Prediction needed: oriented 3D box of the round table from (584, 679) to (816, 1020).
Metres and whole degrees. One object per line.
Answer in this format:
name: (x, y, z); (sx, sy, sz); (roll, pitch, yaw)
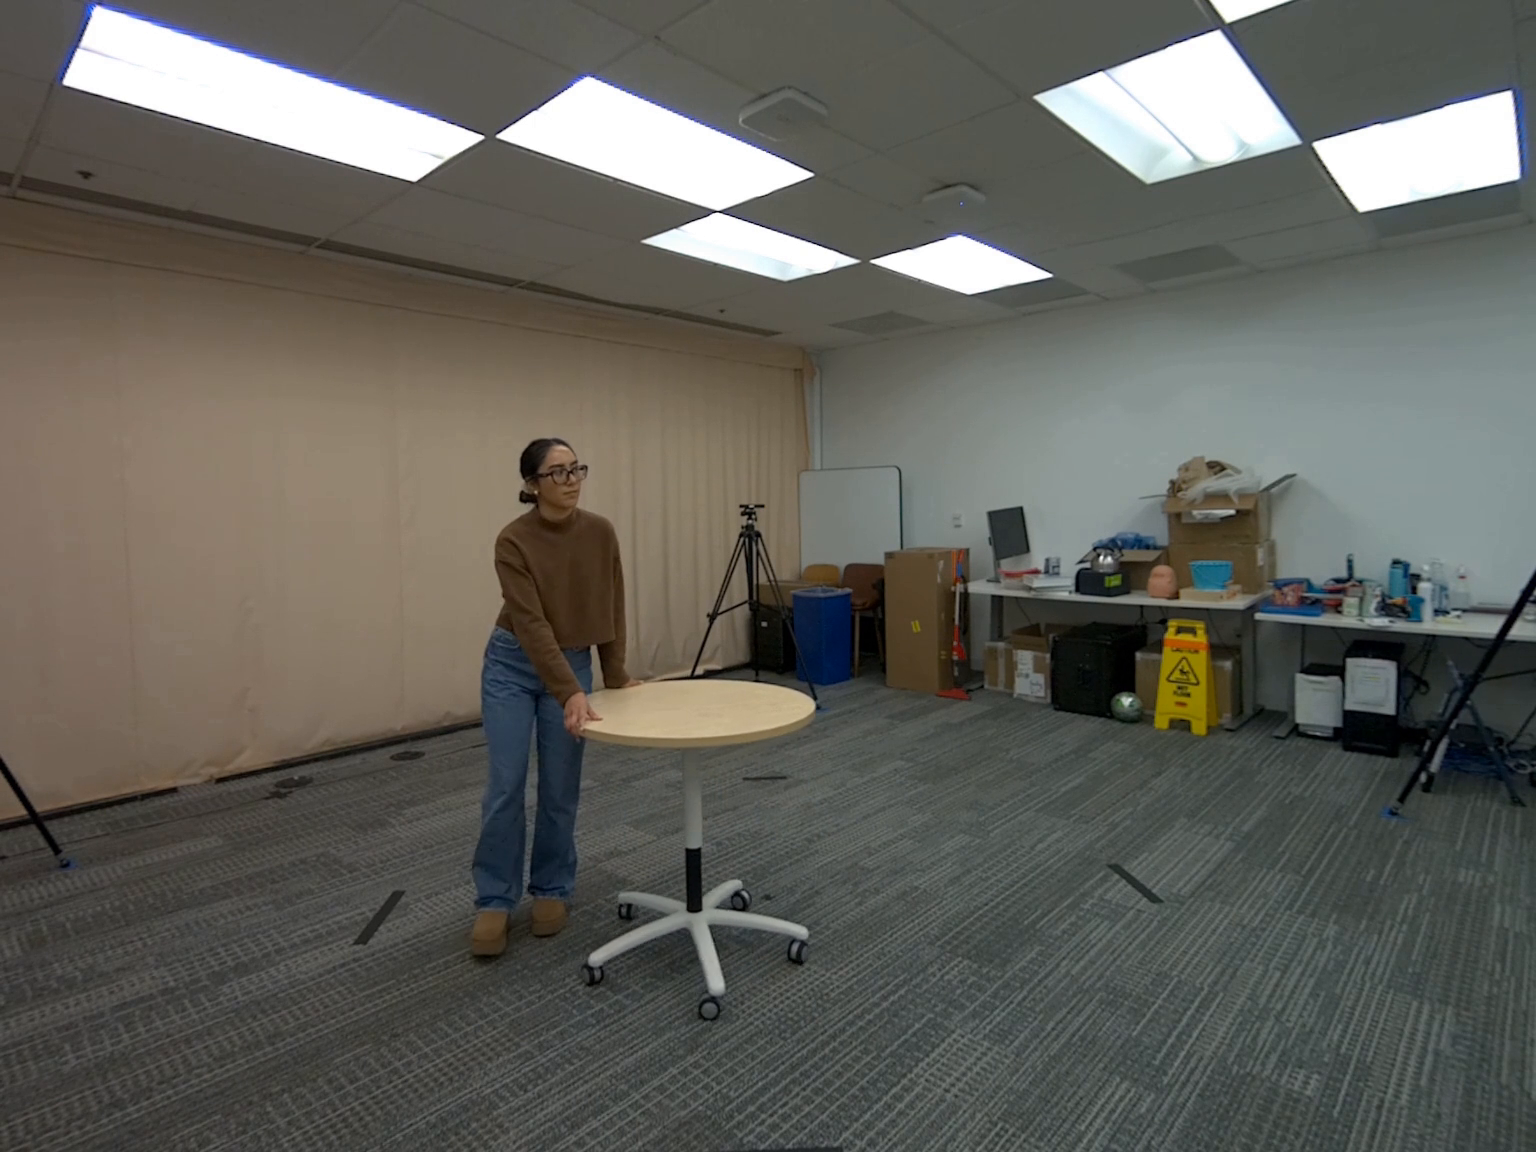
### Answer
round table: (-0.239, 0.783, 2.614); (0.784, 0.785, 0.788); (-1, 4, -2)
